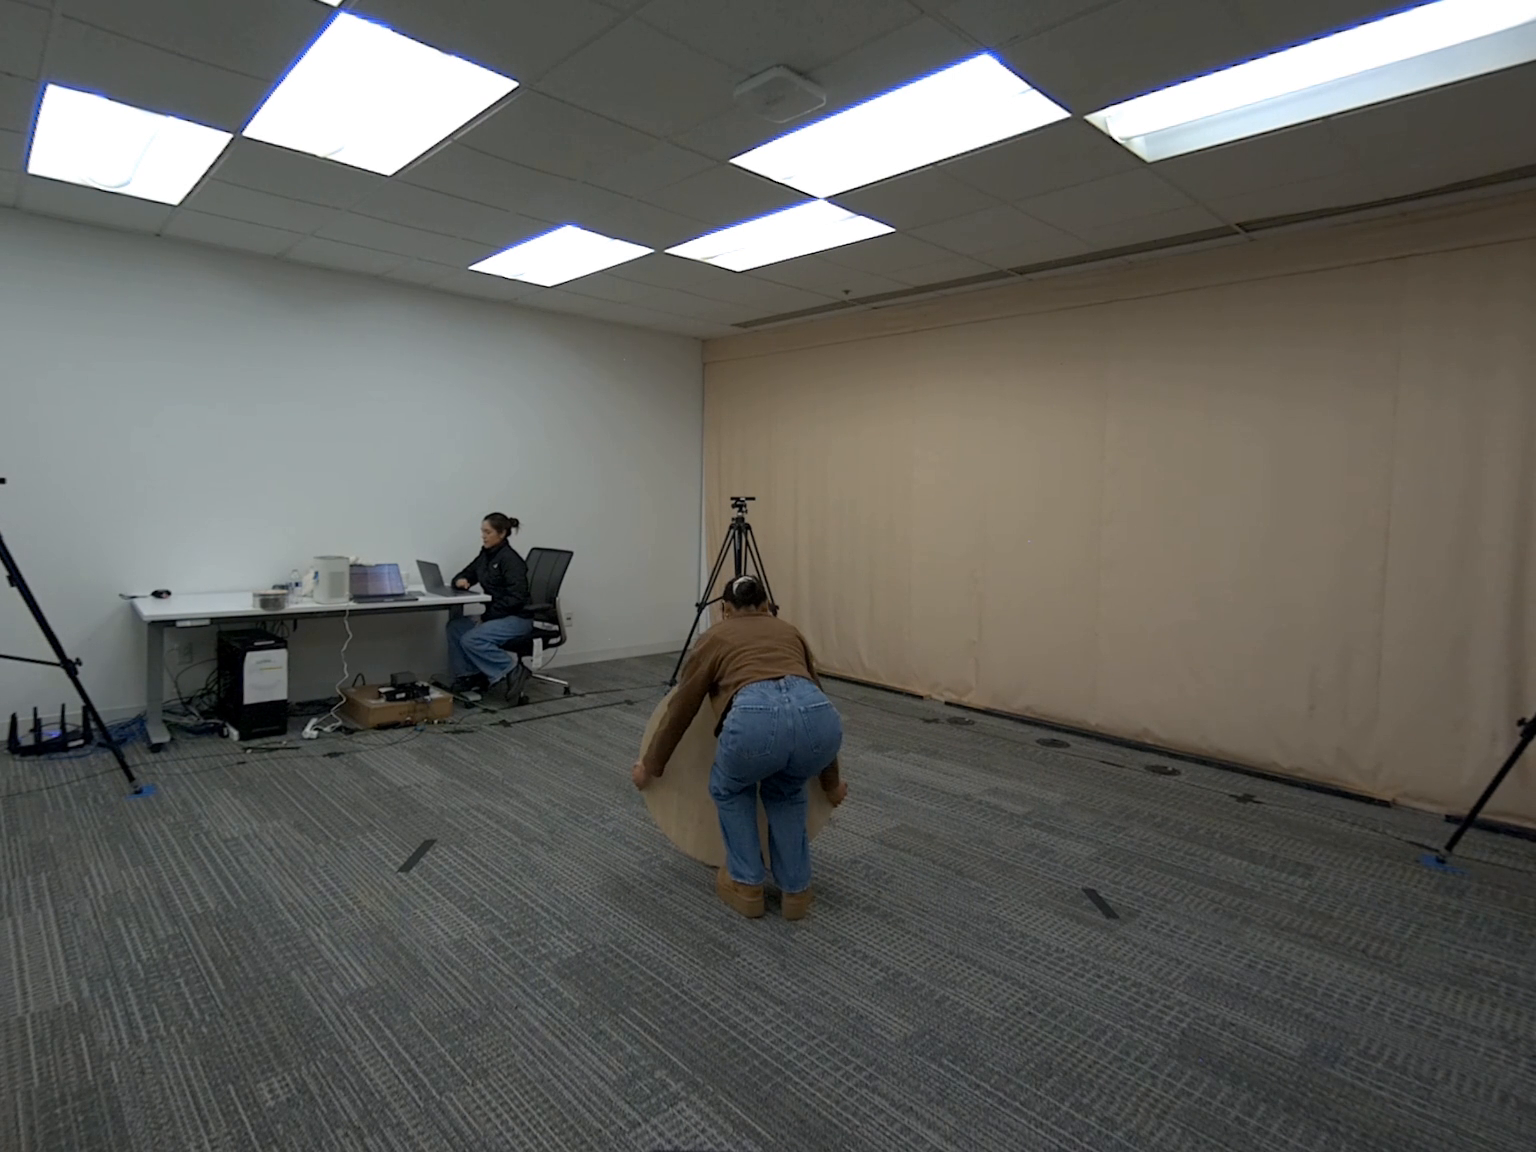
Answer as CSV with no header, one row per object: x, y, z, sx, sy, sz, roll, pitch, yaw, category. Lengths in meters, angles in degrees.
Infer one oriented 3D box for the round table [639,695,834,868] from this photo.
-0.099,0.727,3.573,0.766,0.765,0.791,2,-1,3,round table
